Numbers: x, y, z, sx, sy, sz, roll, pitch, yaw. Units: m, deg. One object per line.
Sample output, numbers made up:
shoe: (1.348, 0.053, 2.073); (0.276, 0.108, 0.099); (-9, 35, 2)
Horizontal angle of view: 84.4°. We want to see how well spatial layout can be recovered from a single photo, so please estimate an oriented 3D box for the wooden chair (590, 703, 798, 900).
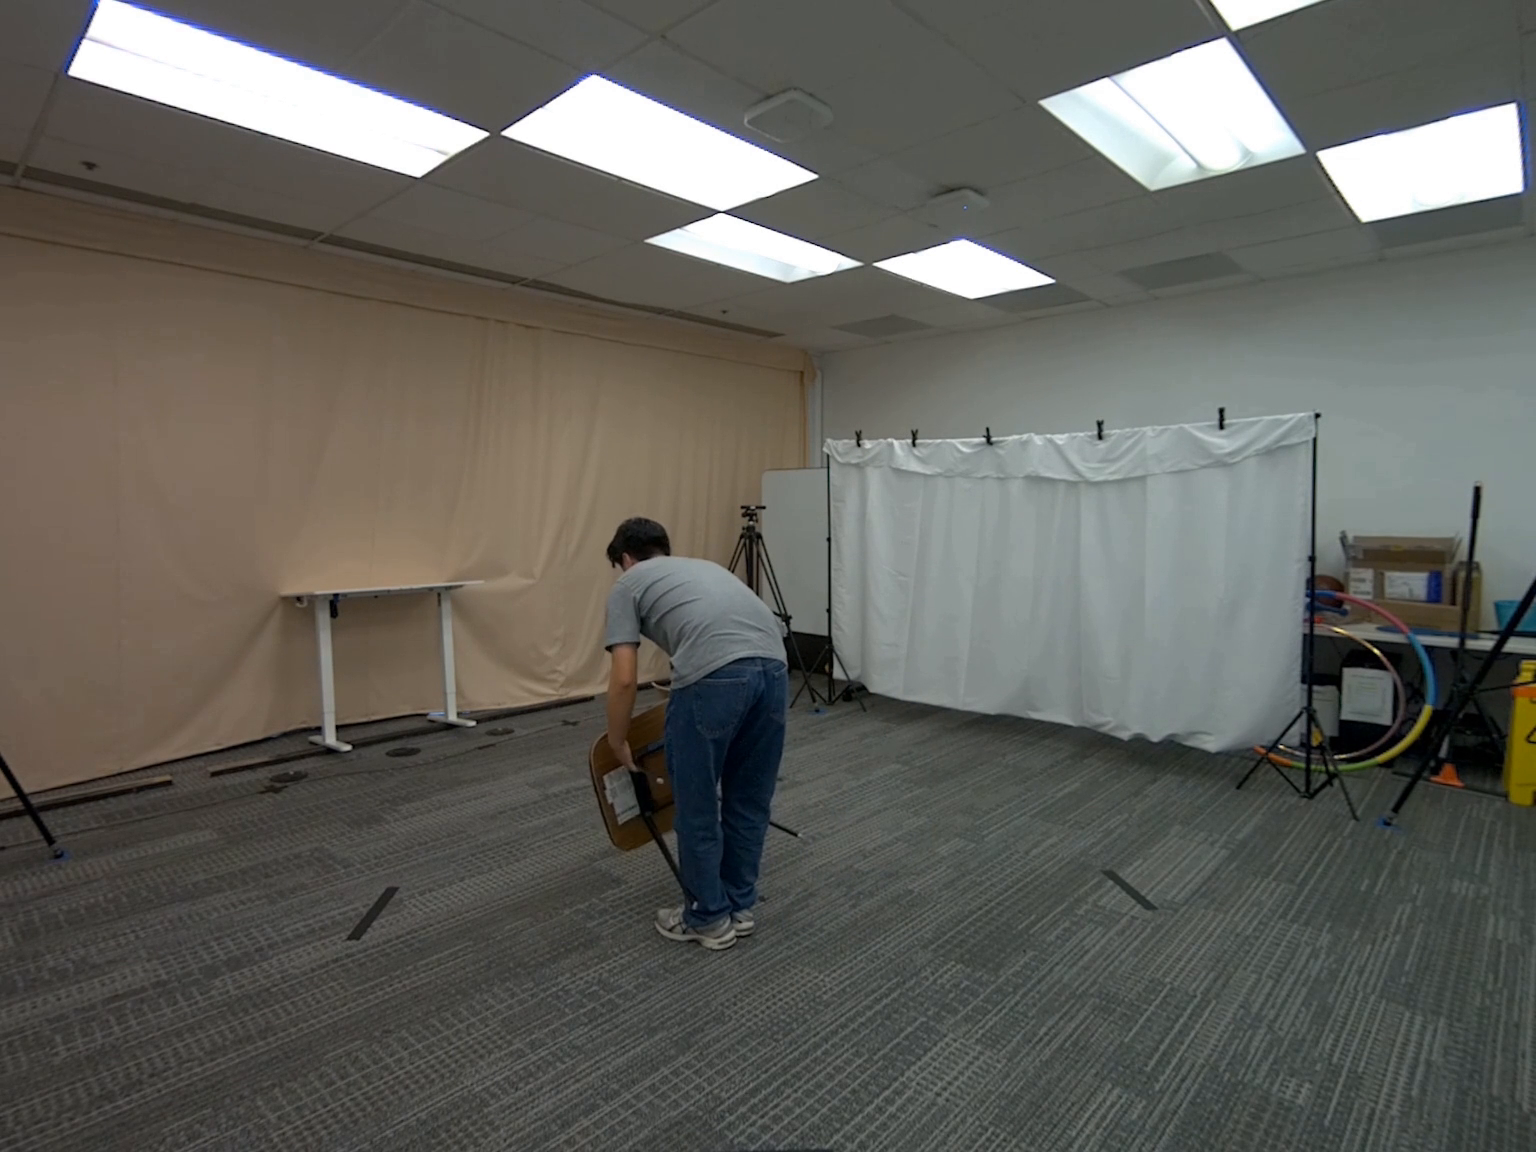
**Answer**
wooden chair: (-0.373, 0.710, 3.024); (0.513, 0.473, 0.905); (-20, 16, -29)
